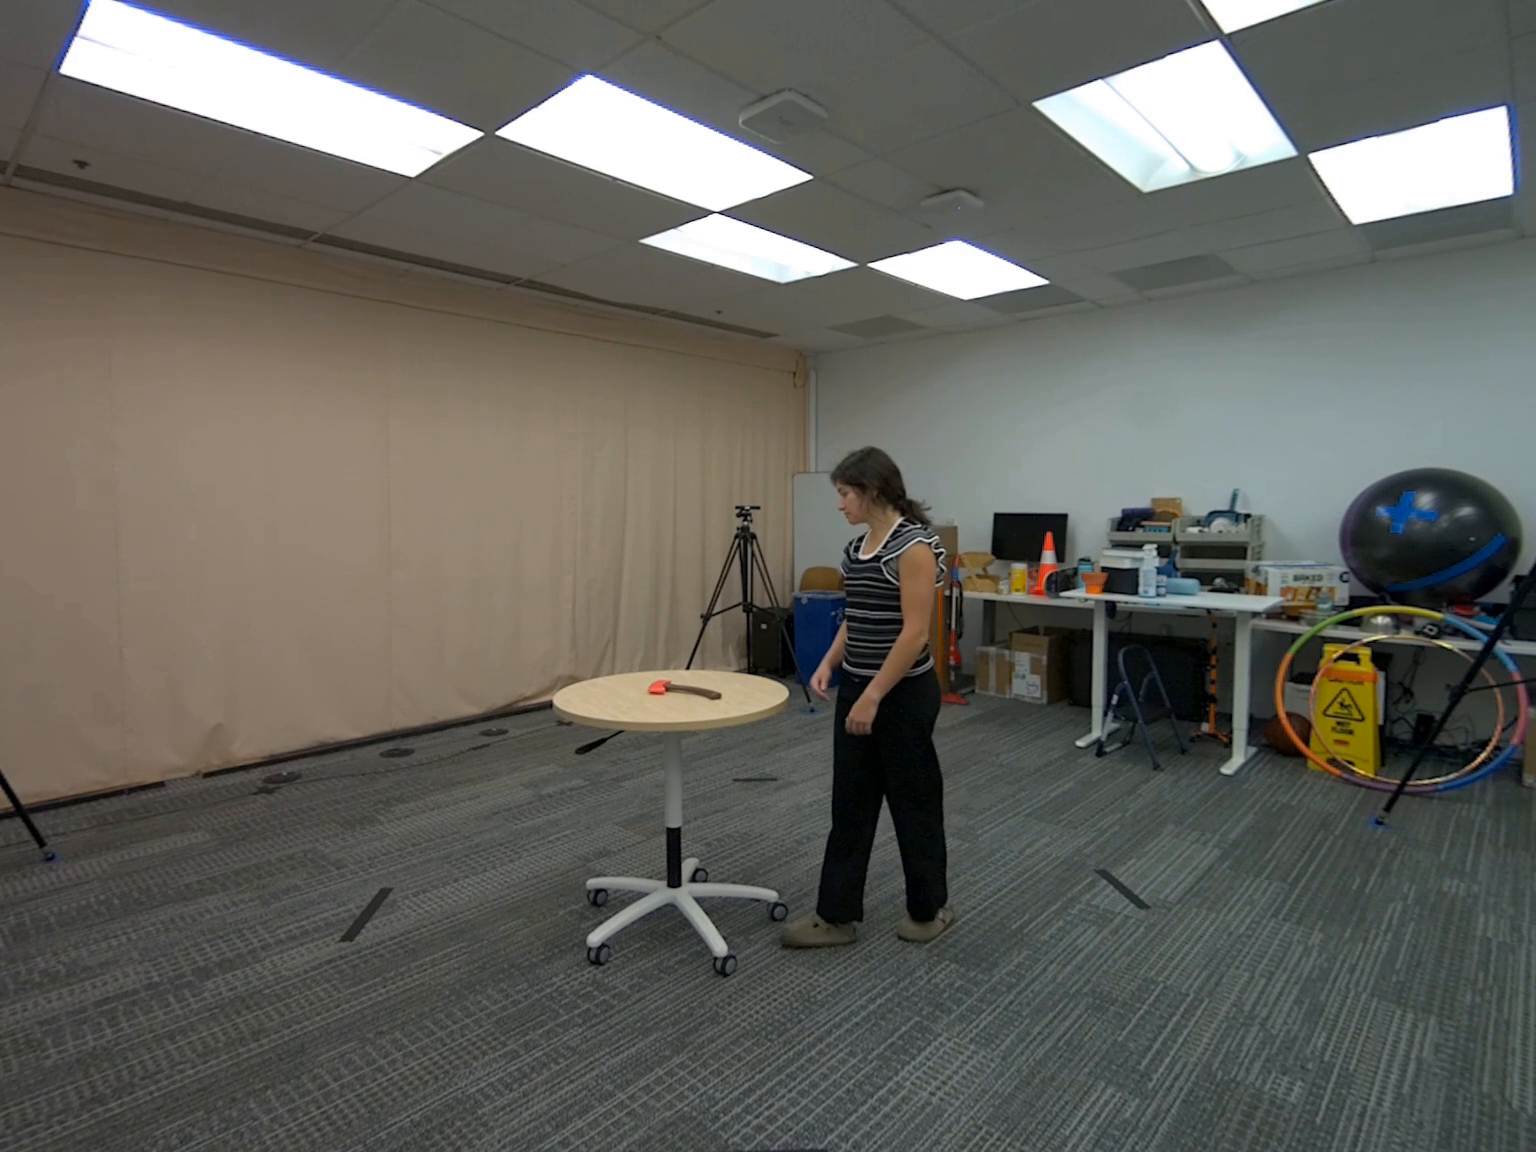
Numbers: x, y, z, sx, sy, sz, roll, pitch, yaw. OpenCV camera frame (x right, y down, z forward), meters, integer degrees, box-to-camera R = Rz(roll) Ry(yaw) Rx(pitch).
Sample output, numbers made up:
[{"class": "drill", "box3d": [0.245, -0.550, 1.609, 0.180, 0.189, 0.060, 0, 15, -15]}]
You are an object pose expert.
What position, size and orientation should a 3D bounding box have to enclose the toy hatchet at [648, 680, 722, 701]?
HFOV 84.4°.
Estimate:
[{"class": "toy hatchet", "box3d": [-0.280, 0.375, 2.707, 0.127, 0.029, 0.279, -8, 9, -44]}]
